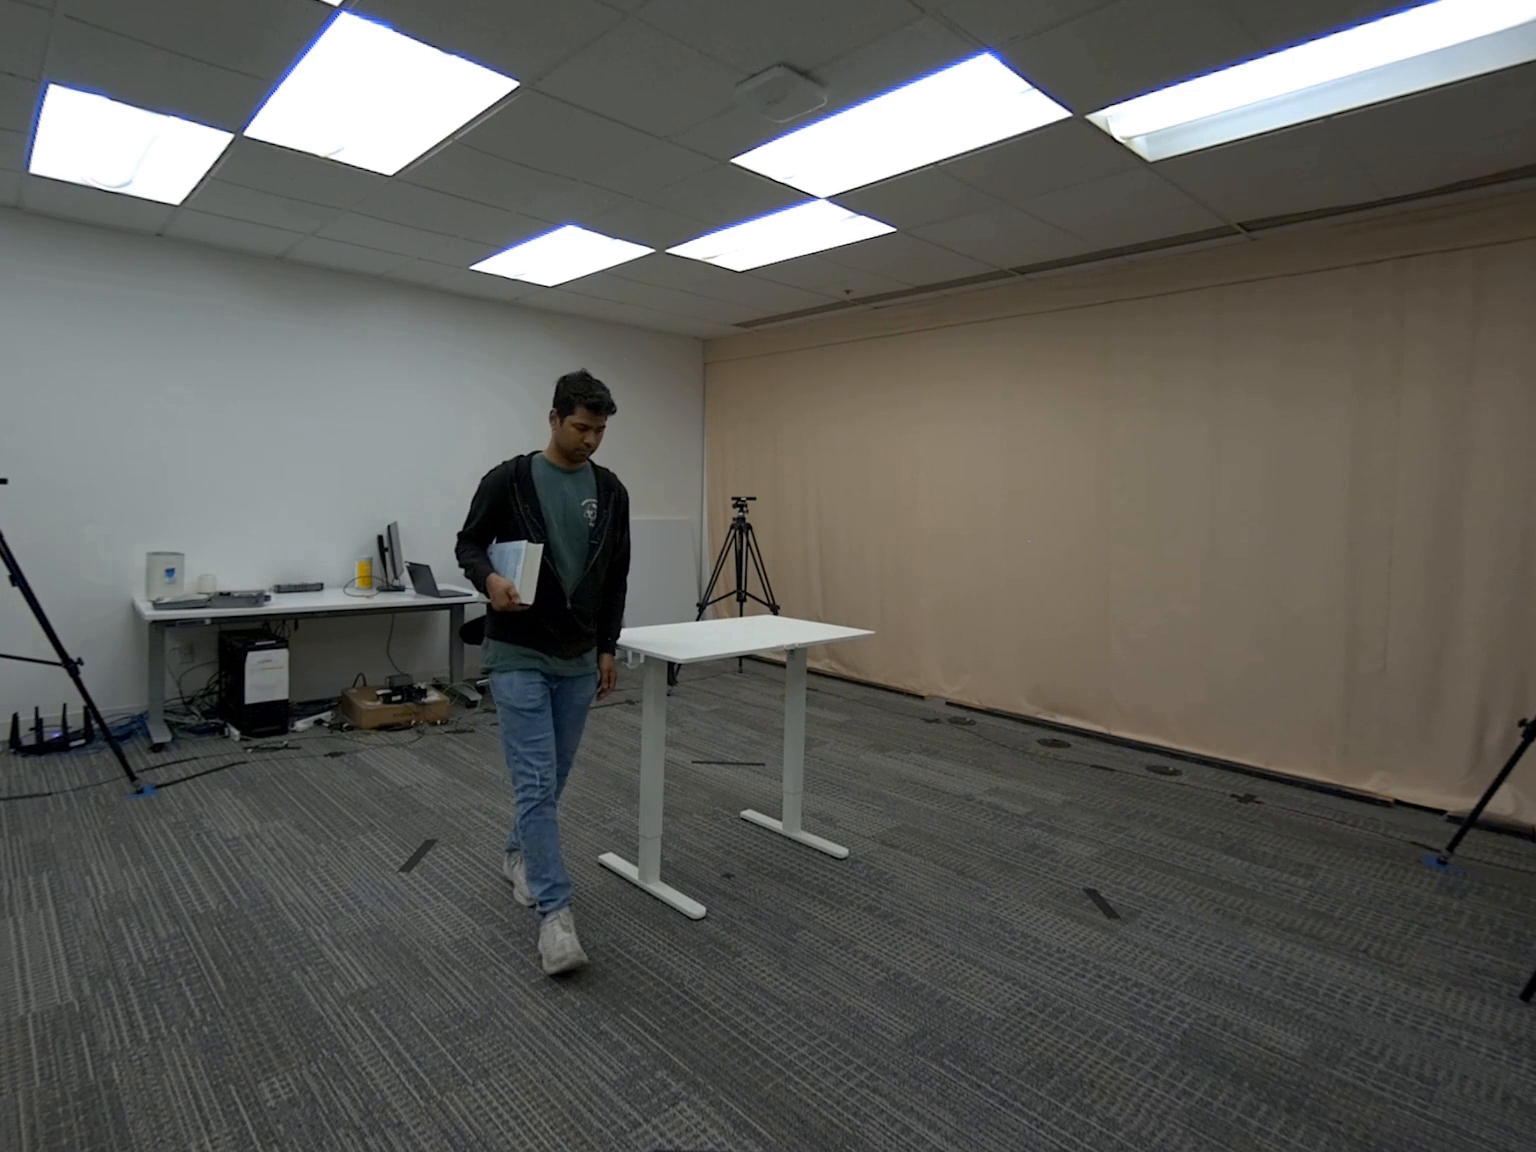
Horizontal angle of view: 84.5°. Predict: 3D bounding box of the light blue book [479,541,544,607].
[{"bbox_3d":[-0.783,-0.004,2.611,0.057,0.193,0.266,22,-18,-39],"label":"light blue book"}]
